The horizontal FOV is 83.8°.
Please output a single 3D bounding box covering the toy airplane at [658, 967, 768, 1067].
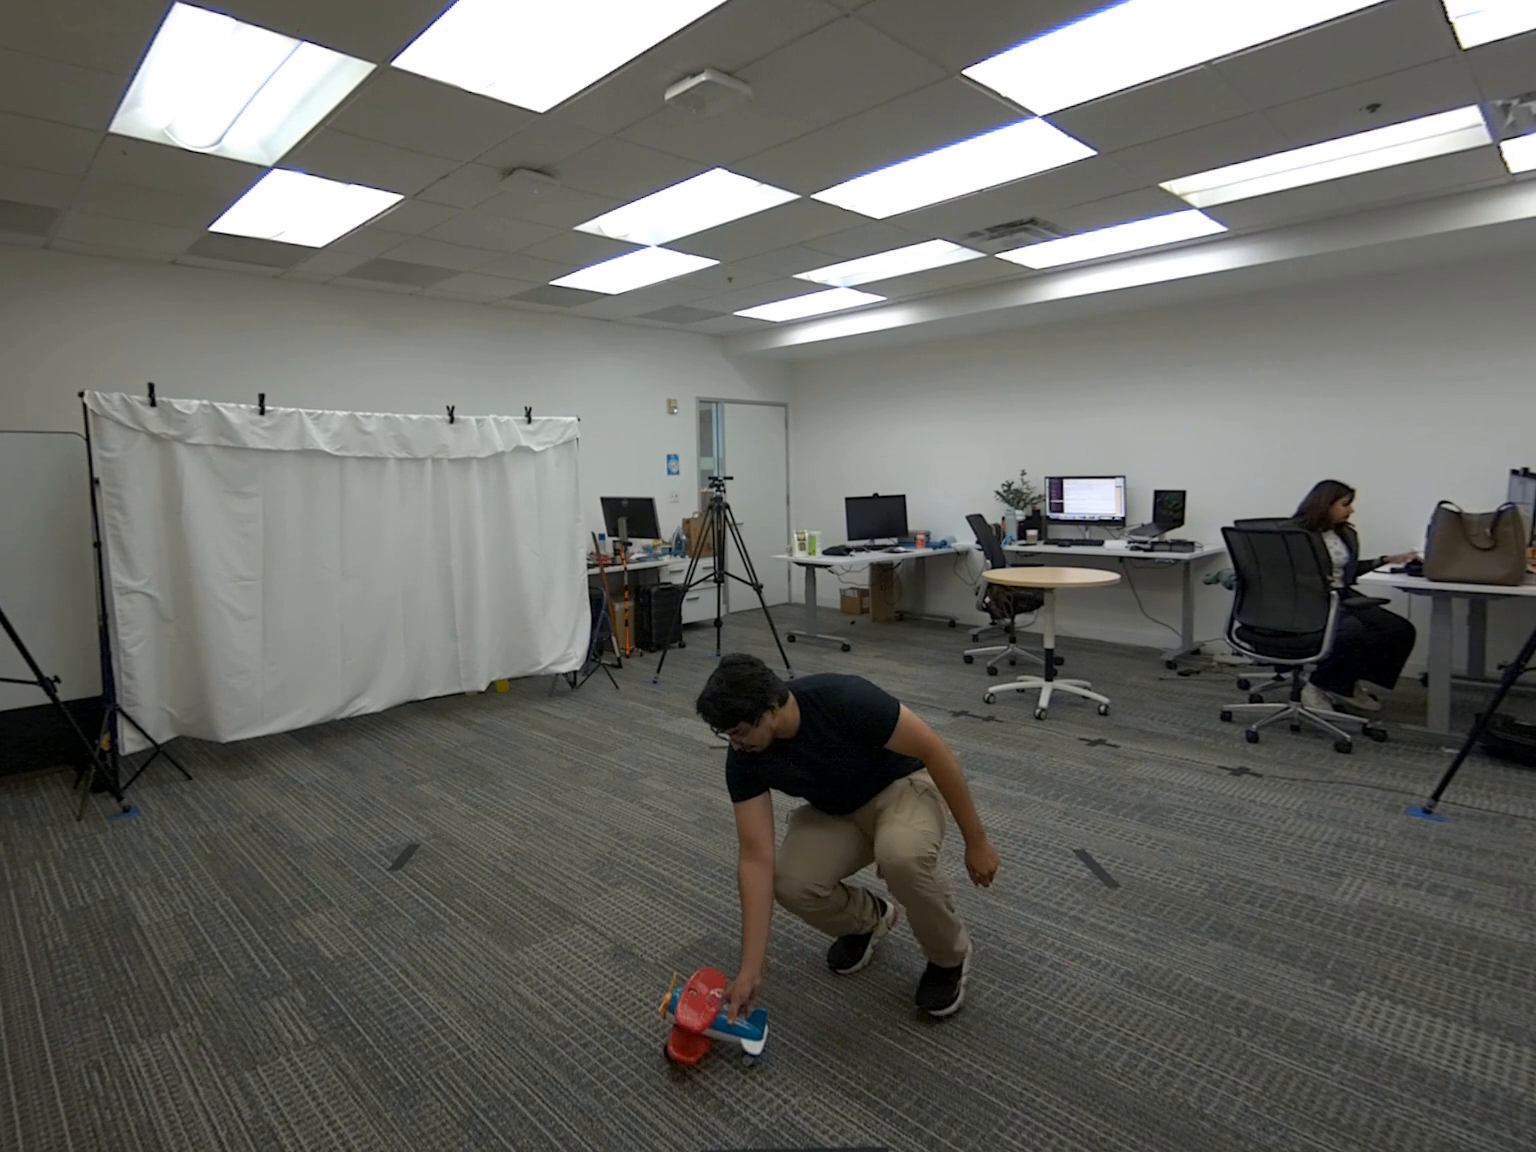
[{"bbox_3d":[-0.120,1.089,2.092,0.255,0.156,0.256,-3,4,-18],"label":"toy airplane"}]
